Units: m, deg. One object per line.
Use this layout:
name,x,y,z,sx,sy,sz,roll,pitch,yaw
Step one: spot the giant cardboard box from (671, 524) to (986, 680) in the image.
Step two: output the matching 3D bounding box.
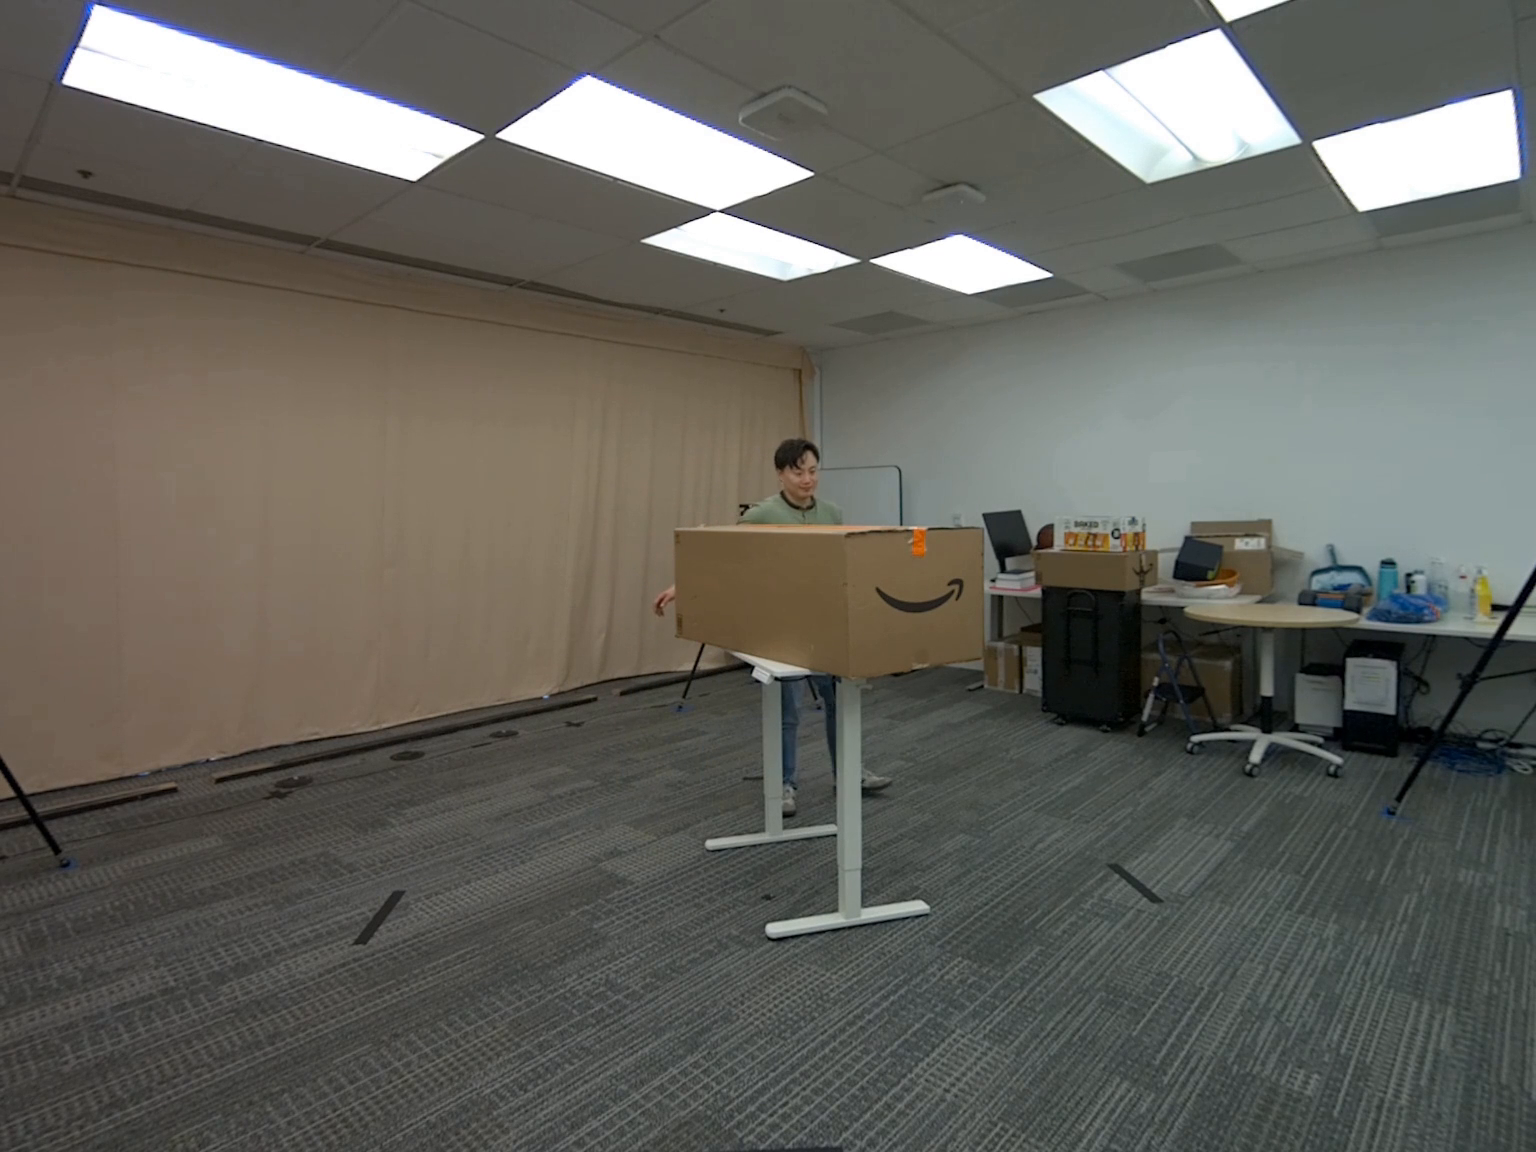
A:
giant cardboard box,0.166,0.039,2.976,0.561,0.425,1.057,-3,5,-34
